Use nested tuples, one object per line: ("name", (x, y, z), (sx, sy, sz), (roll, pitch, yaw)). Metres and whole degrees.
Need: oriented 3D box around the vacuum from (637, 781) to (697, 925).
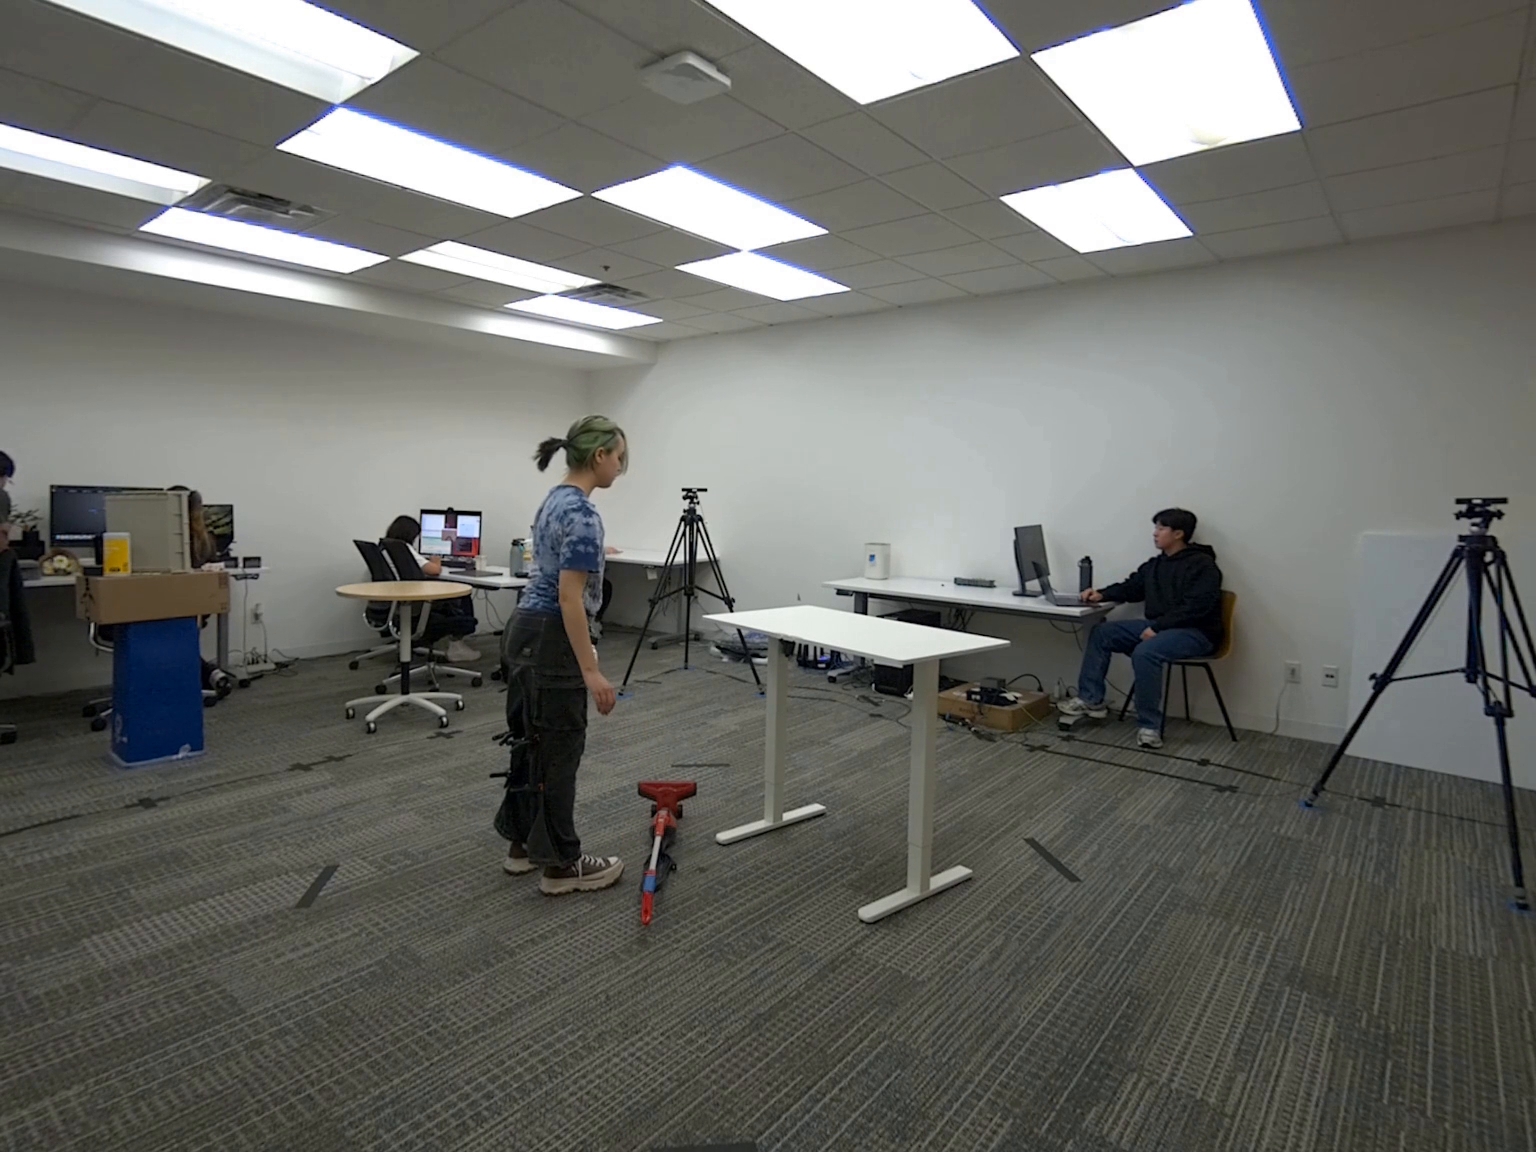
("vacuum", (-0.404, 1.005, 3.107), (0.252, 0.143, 1.058), (0, 7, -4))
